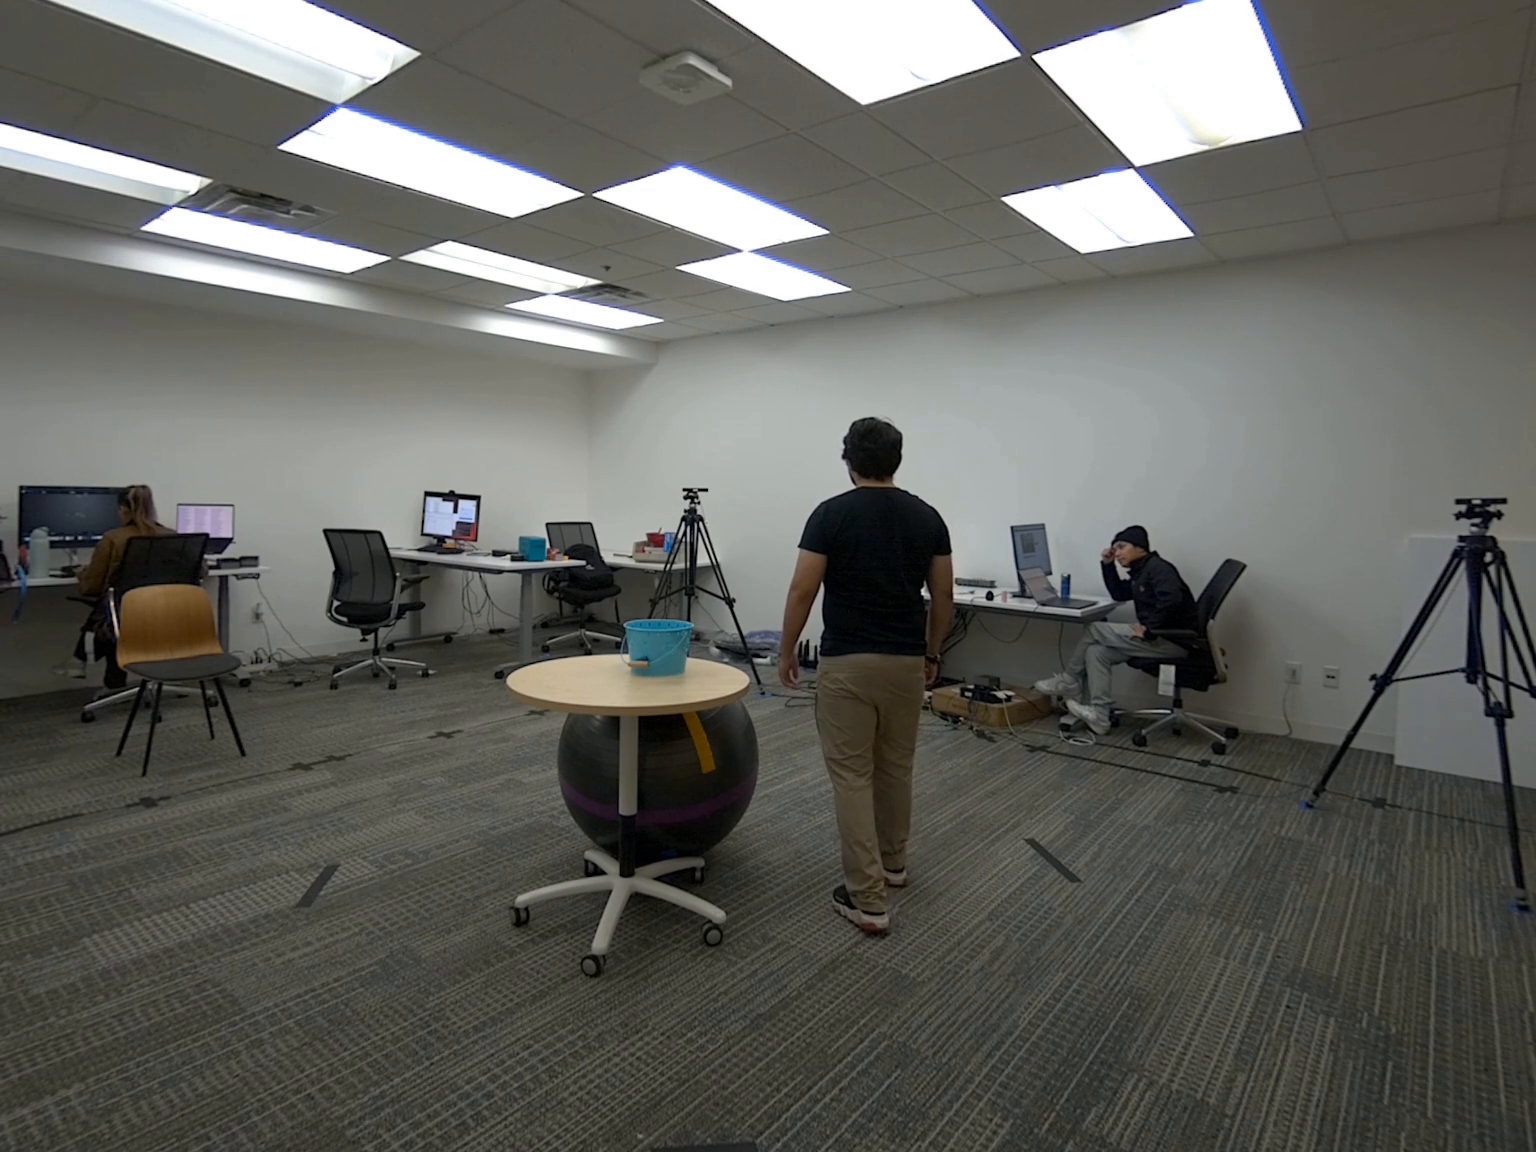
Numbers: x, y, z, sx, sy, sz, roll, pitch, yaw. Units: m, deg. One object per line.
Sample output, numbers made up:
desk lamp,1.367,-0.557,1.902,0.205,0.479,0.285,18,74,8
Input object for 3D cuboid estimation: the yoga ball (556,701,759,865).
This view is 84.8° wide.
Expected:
yoga ball,-0.416,0.687,3.217,0.757,0.755,0.762,1,4,-2
